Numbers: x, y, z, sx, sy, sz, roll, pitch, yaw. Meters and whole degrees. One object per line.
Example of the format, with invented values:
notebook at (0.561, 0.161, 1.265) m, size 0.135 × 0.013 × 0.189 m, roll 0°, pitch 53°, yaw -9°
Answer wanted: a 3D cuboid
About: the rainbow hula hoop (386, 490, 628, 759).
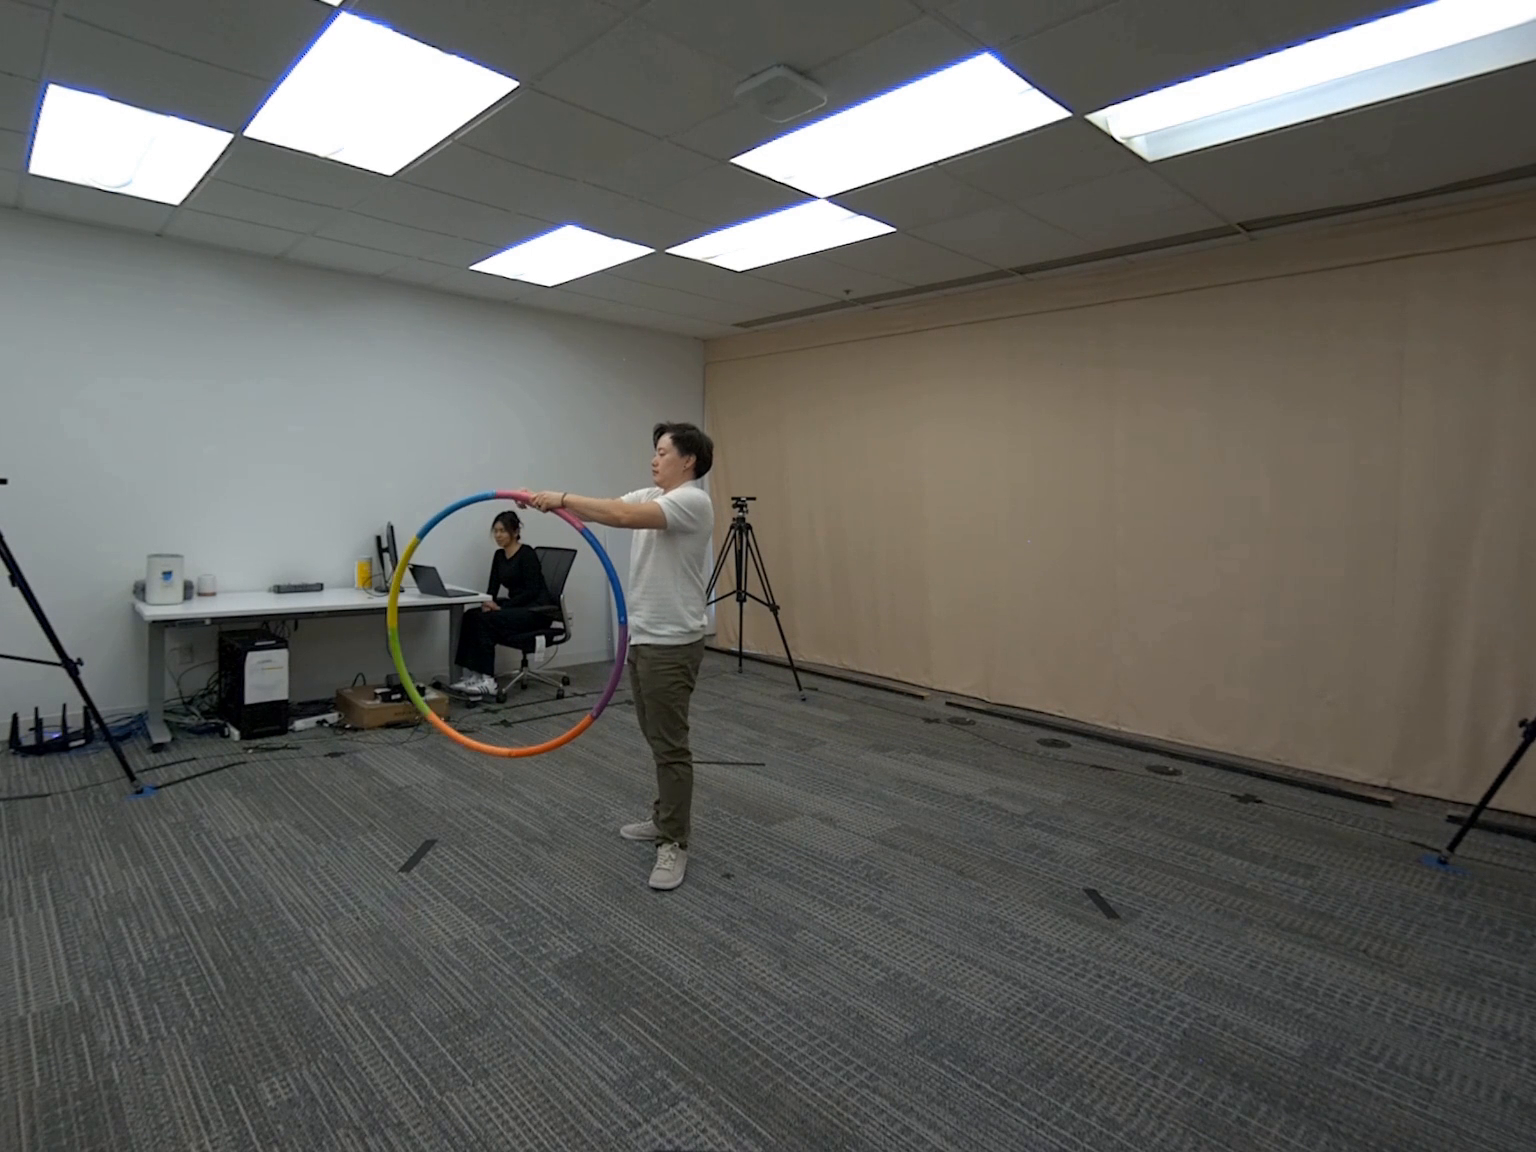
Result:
rainbow hula hoop at (-0.972, 0.185, 3.118) m, size 0.991 × 0.976 × 0.035 m, roll 3°, pitch 4°, yaw 16°
